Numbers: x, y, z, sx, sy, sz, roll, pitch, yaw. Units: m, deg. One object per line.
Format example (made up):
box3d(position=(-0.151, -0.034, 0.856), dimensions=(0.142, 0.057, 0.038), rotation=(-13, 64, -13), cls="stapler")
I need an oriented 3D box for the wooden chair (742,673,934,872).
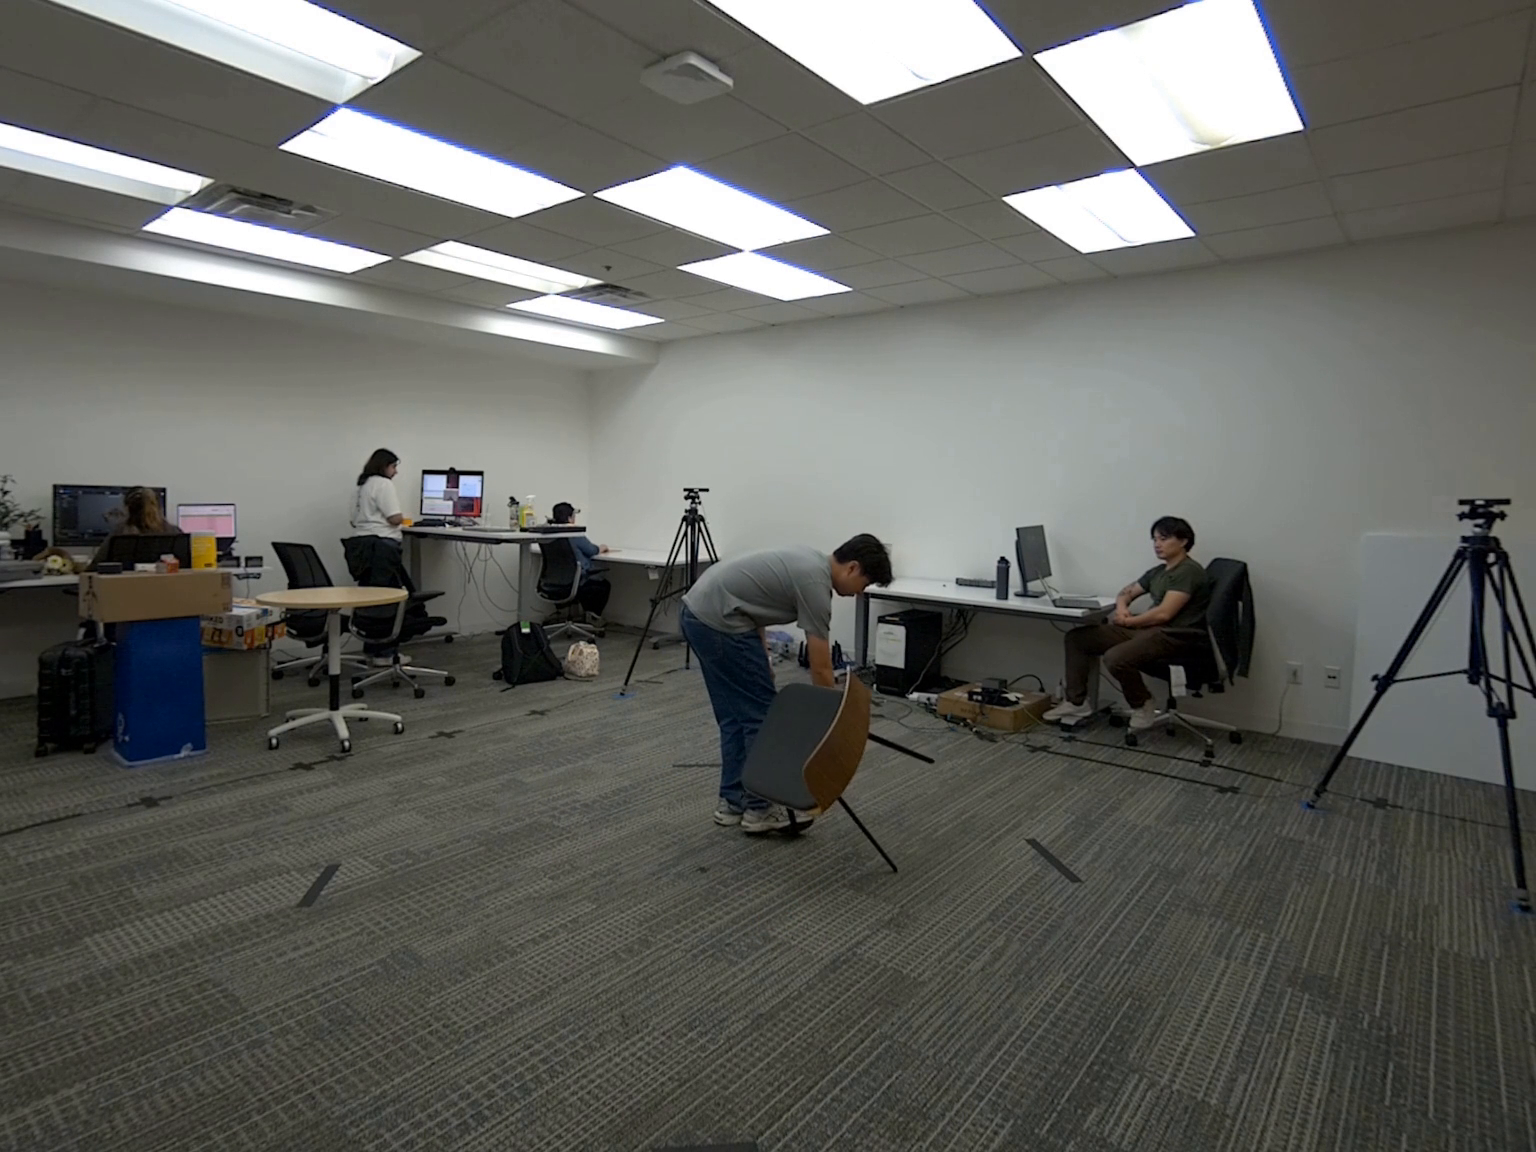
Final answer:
box3d(position=(0.174, 0.643, 3.105), dimensions=(0.541, 0.482, 0.841), rotation=(8, -30, 35), cls="wooden chair")
